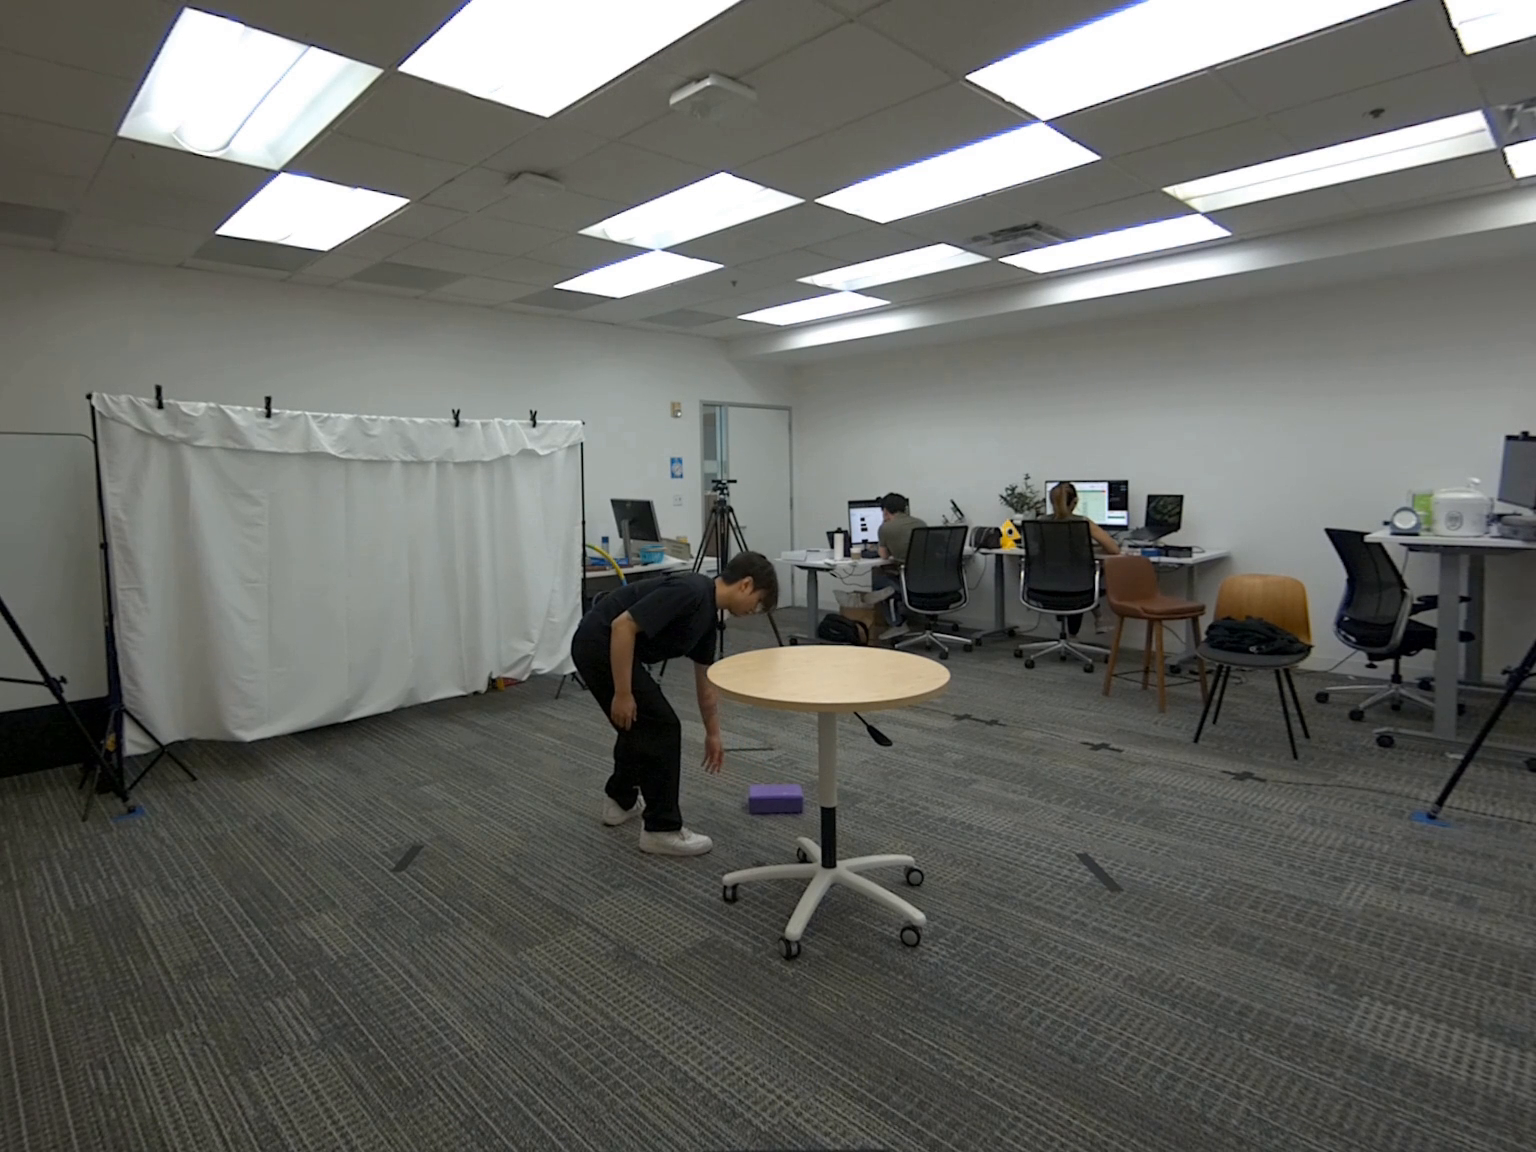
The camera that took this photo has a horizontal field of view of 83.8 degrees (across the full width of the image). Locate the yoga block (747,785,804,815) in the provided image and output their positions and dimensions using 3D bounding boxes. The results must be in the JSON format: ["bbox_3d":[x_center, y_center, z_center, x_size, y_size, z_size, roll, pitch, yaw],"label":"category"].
[{"bbox_3d":[0.030,0.945,3.633,0.229,0.076,0.150,-1,6,0],"label":"yoga block"}]
